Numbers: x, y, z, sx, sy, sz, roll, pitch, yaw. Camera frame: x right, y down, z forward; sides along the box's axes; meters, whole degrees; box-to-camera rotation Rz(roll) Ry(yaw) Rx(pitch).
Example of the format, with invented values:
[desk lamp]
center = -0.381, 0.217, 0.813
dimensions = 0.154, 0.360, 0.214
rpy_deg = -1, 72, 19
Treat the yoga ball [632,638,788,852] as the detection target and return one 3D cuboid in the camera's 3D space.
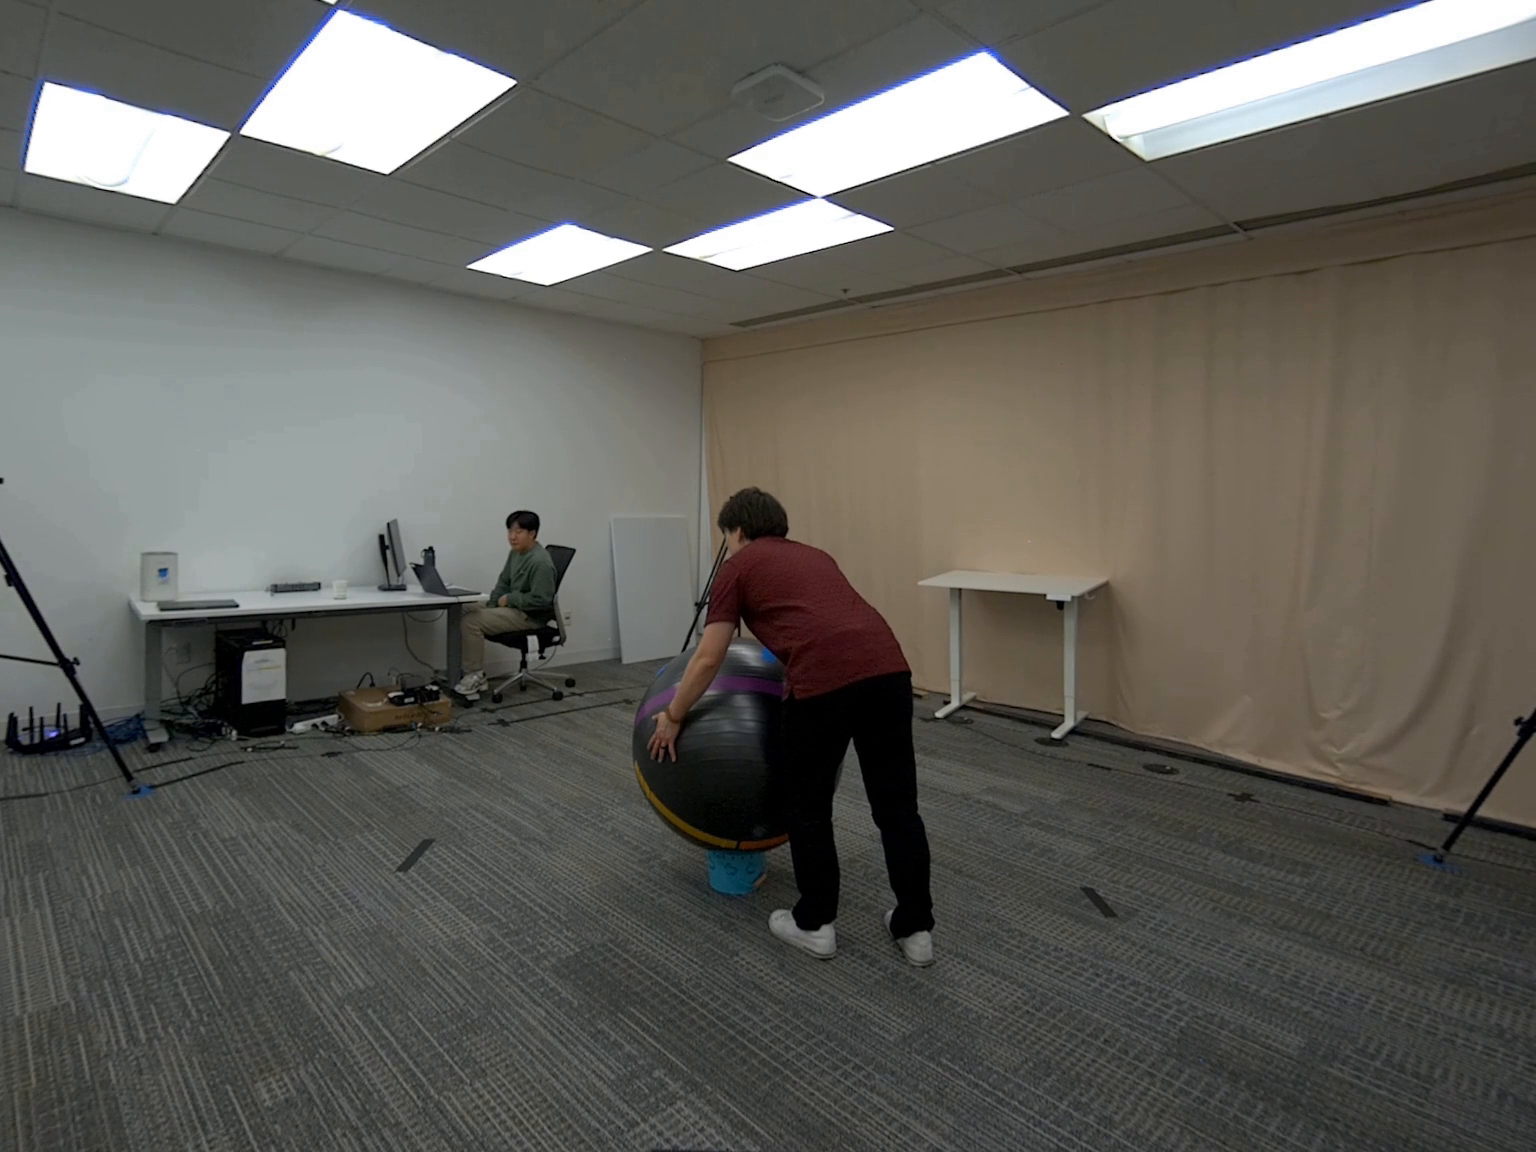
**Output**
[yoga ball]
center = -0.105, 0.595, 3.019
dimensions = 0.757, 0.756, 0.761
rpy_deg = 1, 4, -1
